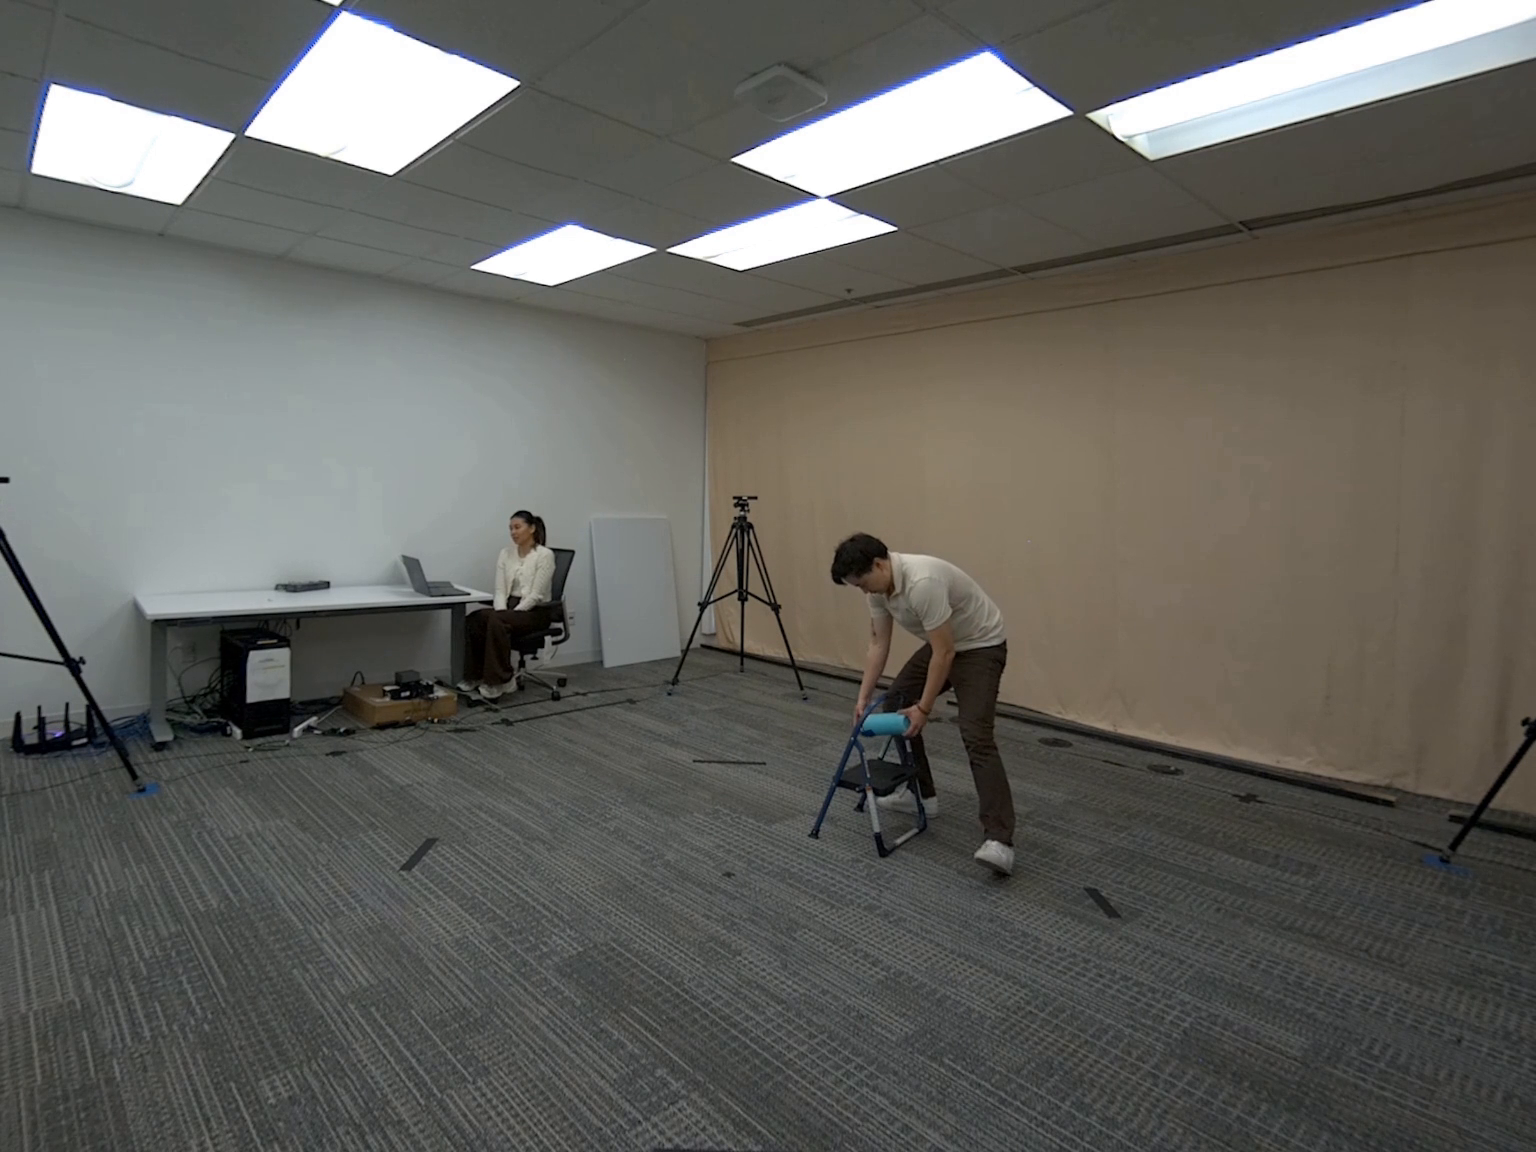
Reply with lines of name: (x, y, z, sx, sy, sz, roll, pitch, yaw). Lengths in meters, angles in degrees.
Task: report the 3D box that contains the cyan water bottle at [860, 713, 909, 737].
cyan water bottle: (0.481, 0.620, 3.522, 0.090, 0.093, 0.288, -3, -10, -45)
